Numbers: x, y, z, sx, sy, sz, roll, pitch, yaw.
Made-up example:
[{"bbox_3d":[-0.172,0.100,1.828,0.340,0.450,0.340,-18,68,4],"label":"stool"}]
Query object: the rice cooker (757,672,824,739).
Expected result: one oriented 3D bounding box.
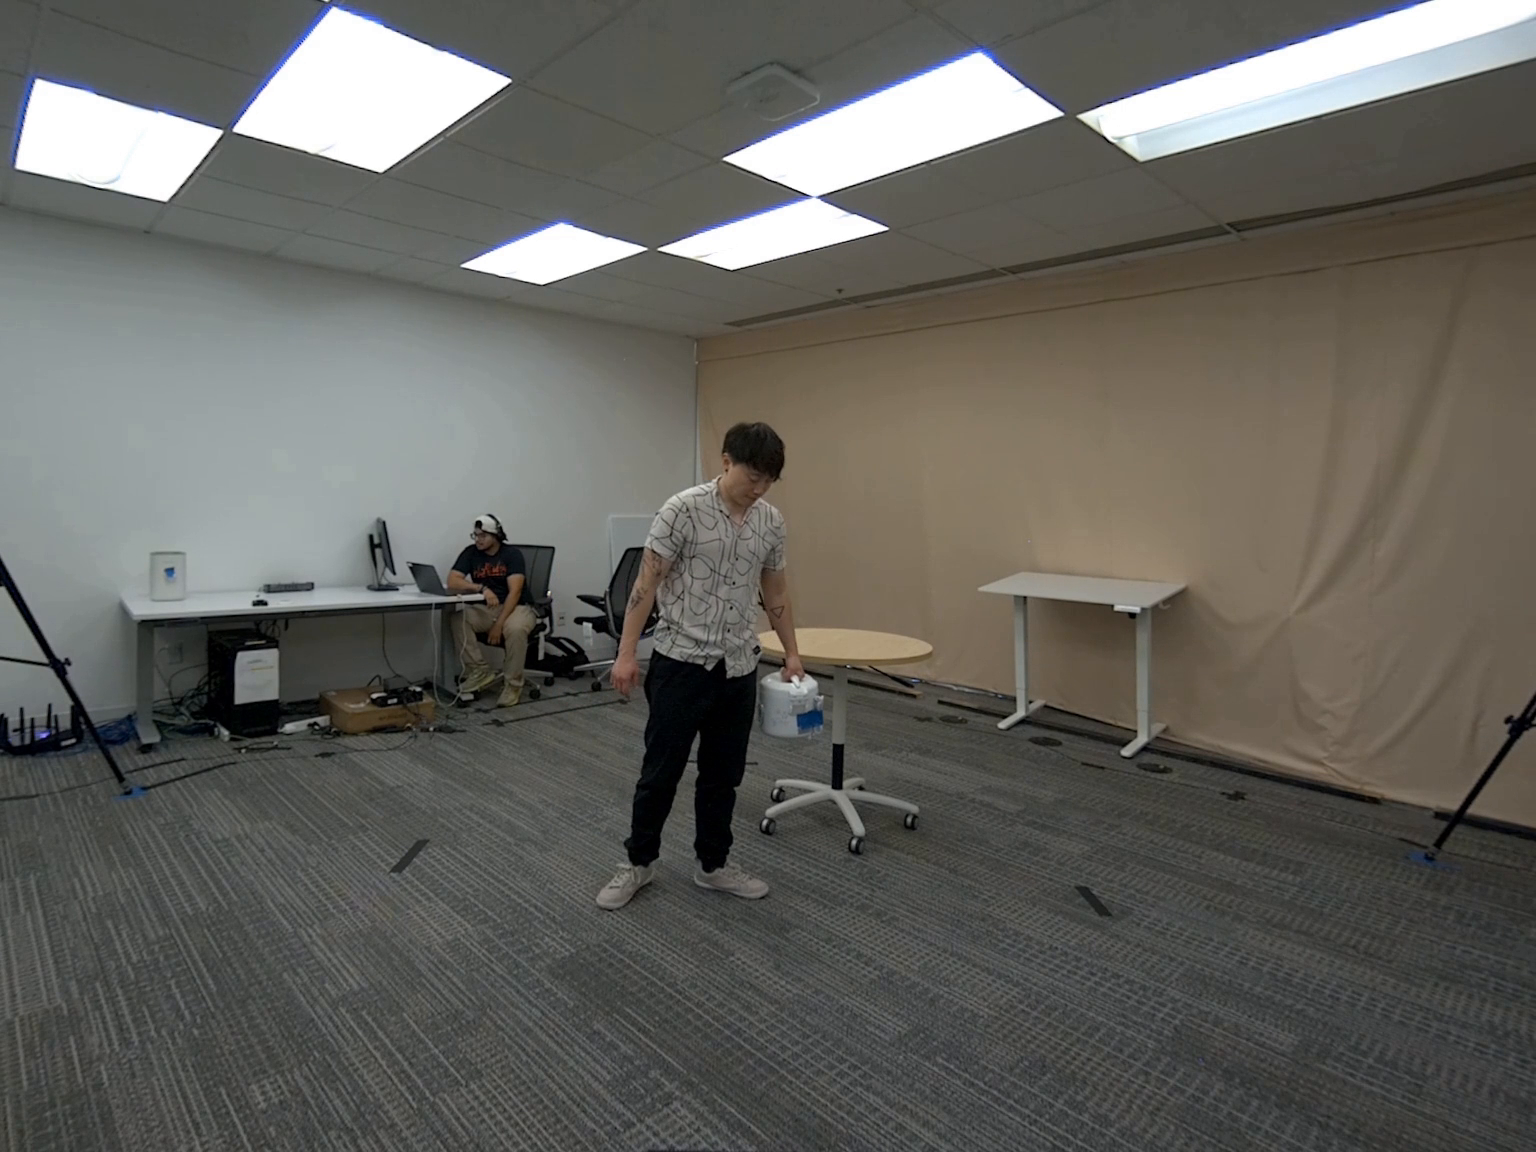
[{"bbox_3d":[0.059,0.452,3.019,0.215,0.231,0.225,-1,10,-17],"label":"rice cooker"}]
